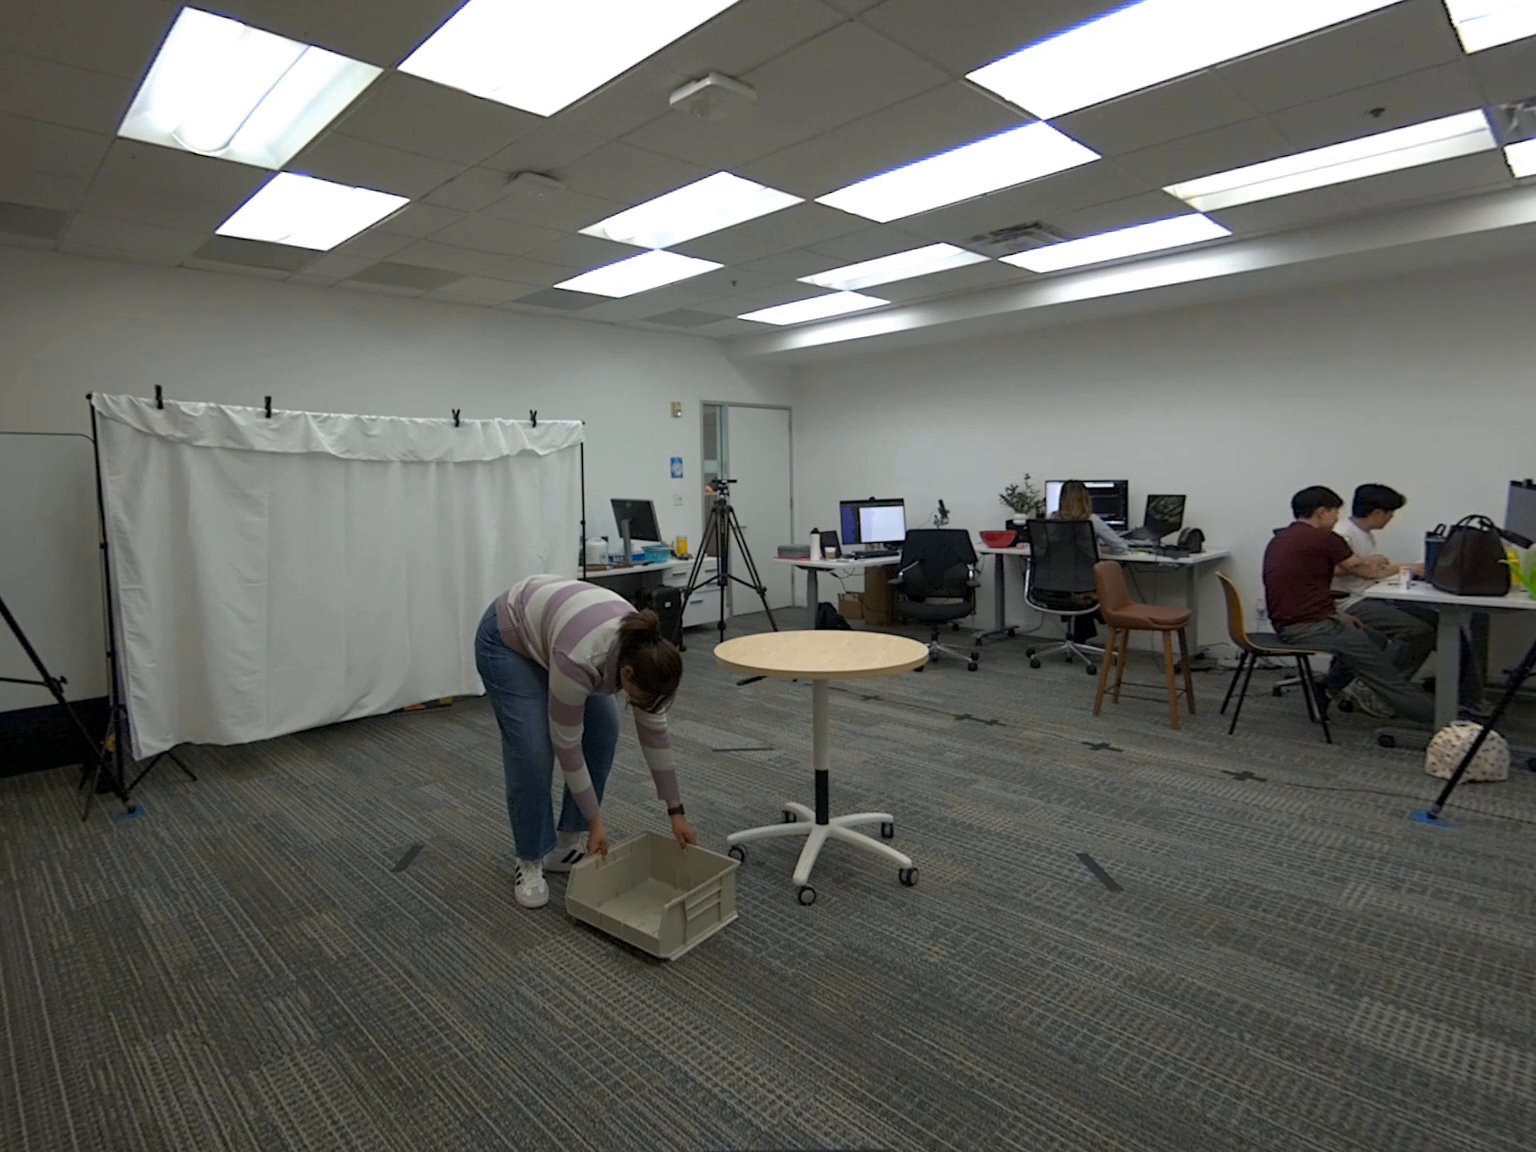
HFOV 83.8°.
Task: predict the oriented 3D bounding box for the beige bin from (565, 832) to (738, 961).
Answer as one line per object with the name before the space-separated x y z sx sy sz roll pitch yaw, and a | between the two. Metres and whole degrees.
beige bin | -0.362 1.004 2.713 0.435 0.188 0.368 4 7 38
